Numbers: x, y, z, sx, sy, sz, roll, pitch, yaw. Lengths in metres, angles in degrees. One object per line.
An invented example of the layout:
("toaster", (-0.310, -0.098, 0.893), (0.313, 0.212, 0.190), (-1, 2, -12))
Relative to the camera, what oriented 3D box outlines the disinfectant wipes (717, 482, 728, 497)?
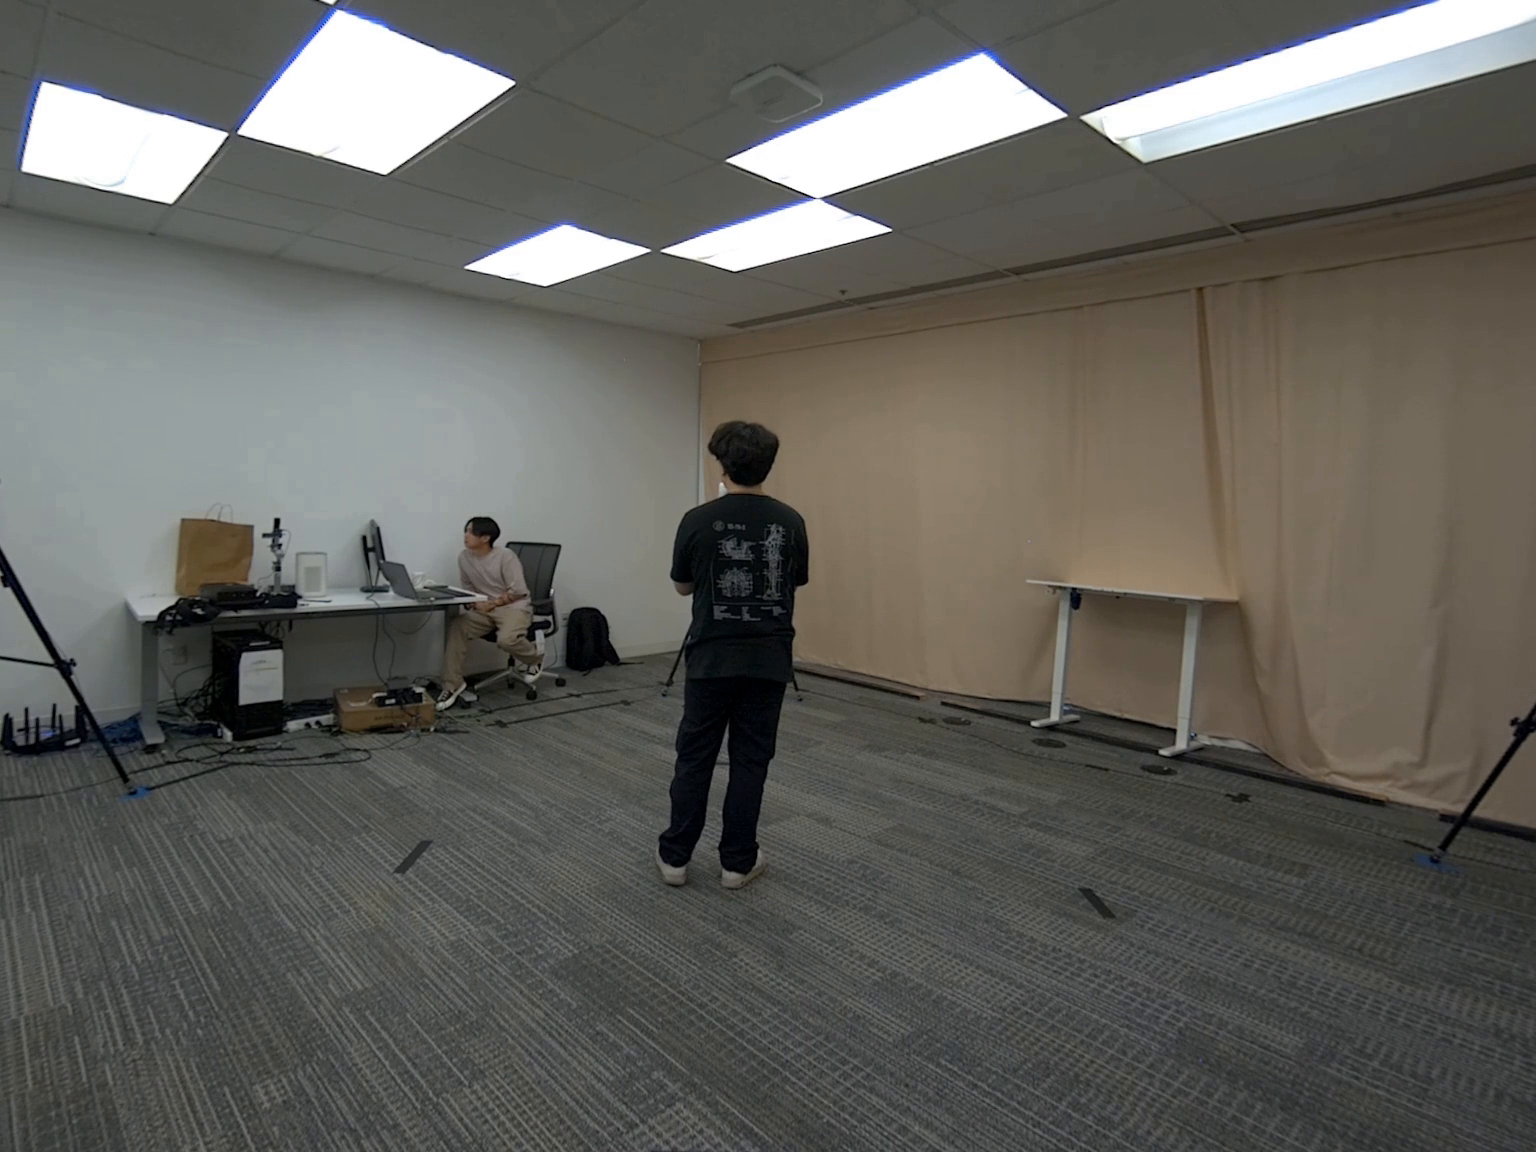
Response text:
("disinfectant wipes", (-0.137, -0.258, 3.331), (0.118, 0.216, 0.118), (0, 6, -1))
